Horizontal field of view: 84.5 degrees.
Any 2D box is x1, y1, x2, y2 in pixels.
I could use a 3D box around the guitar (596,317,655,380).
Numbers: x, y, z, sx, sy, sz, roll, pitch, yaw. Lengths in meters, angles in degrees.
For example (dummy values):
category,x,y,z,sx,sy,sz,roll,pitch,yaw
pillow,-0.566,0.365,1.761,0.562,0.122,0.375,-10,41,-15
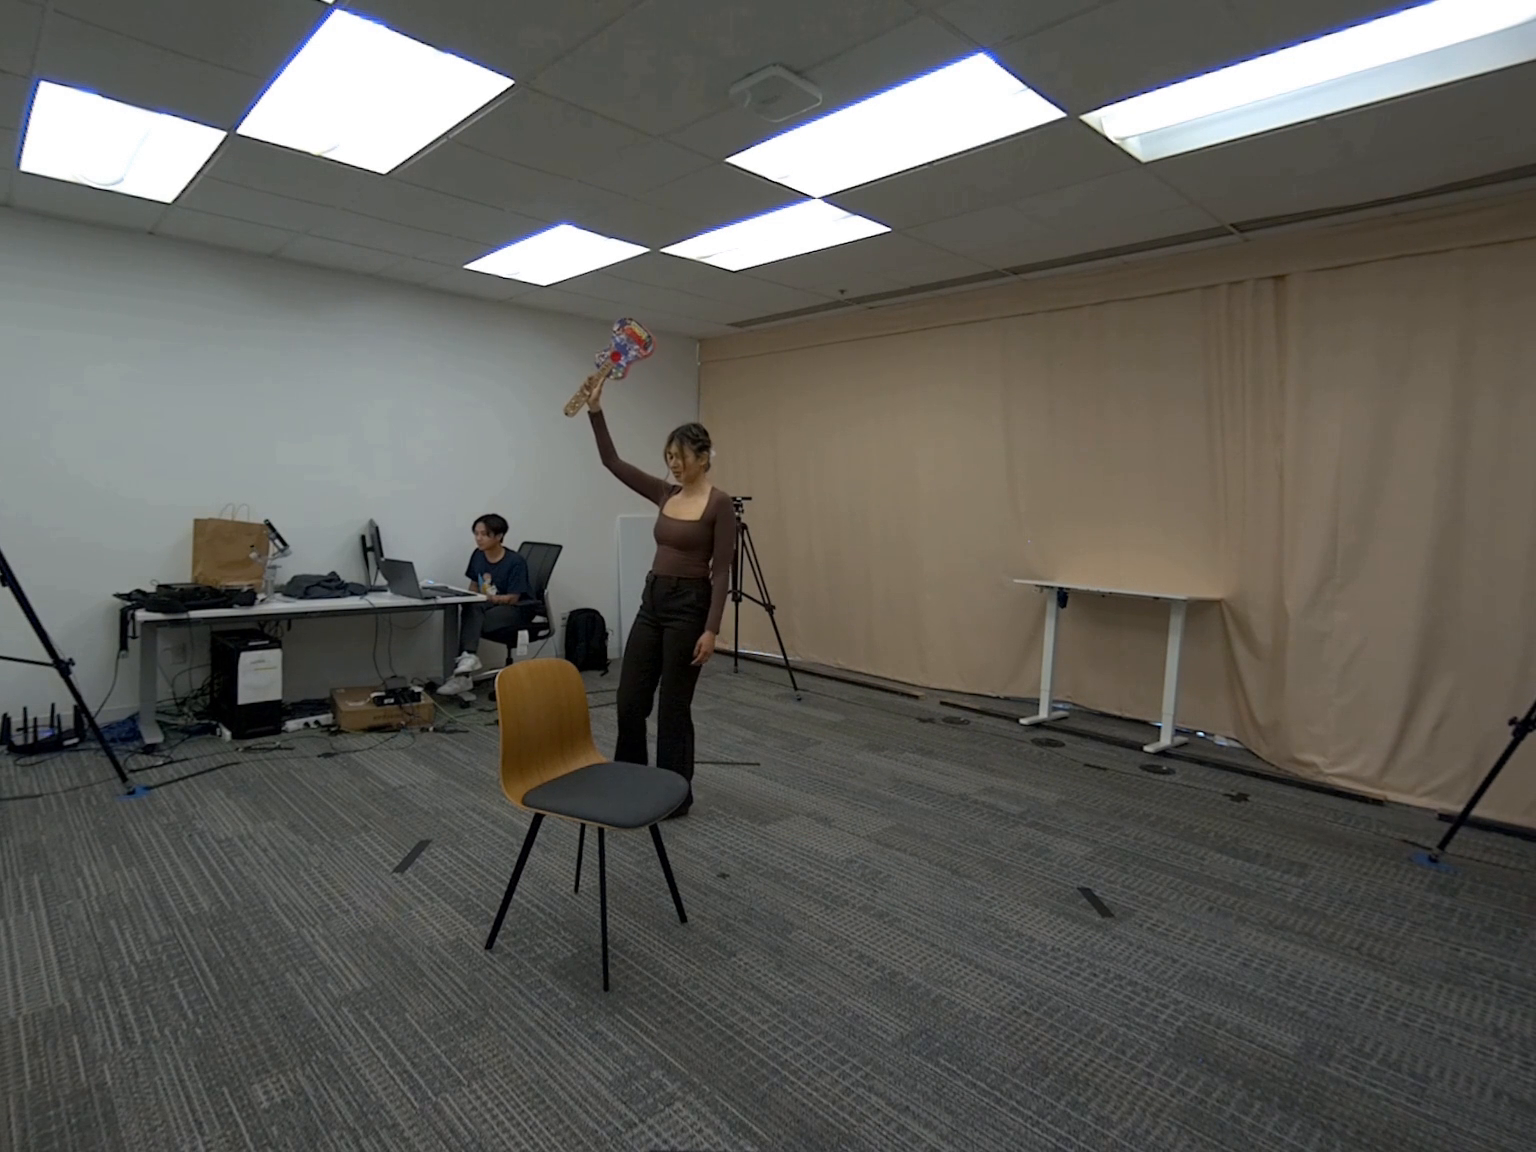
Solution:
category,x,y,z,sx,sy,sz,roll,pitch,yaw
guitar,-0.718,-0.897,3.590,0.498,0.193,0.070,-41,-1,4
